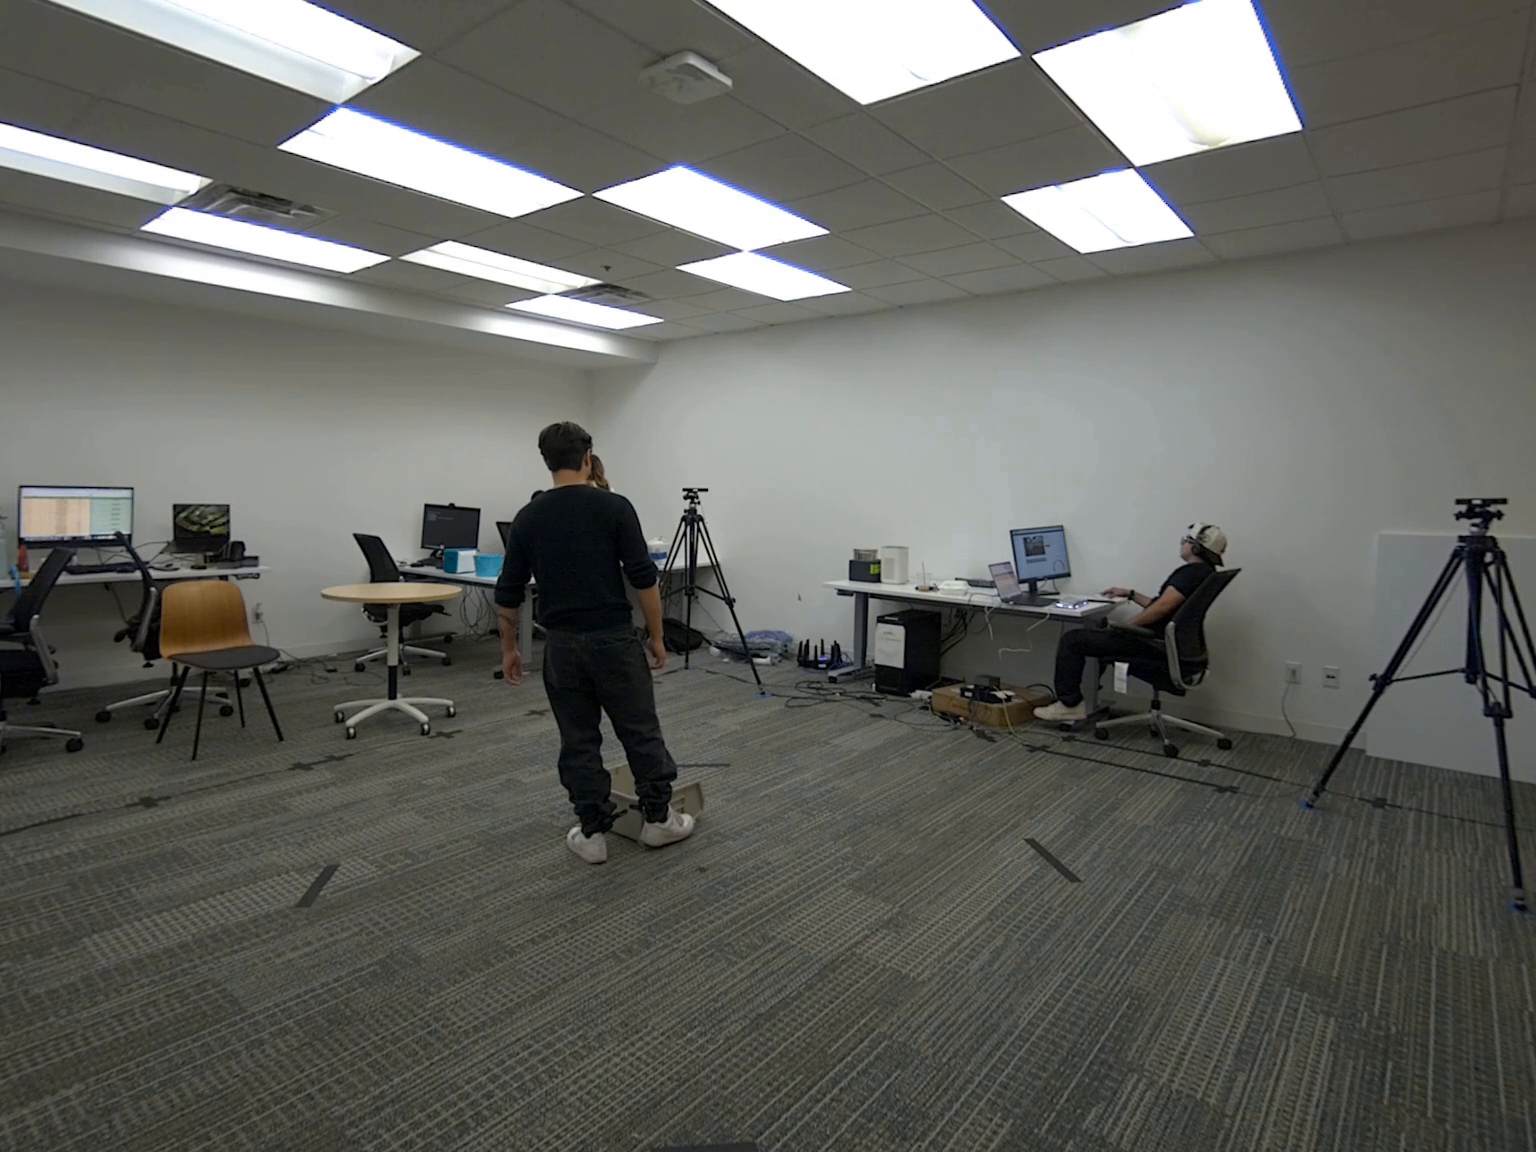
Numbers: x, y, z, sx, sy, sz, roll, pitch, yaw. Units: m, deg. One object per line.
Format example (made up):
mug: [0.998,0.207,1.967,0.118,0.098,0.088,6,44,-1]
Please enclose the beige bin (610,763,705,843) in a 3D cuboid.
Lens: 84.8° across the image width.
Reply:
beige bin: [-0.558,0.934,3.568,0.436,0.188,0.367,6,8,37]
